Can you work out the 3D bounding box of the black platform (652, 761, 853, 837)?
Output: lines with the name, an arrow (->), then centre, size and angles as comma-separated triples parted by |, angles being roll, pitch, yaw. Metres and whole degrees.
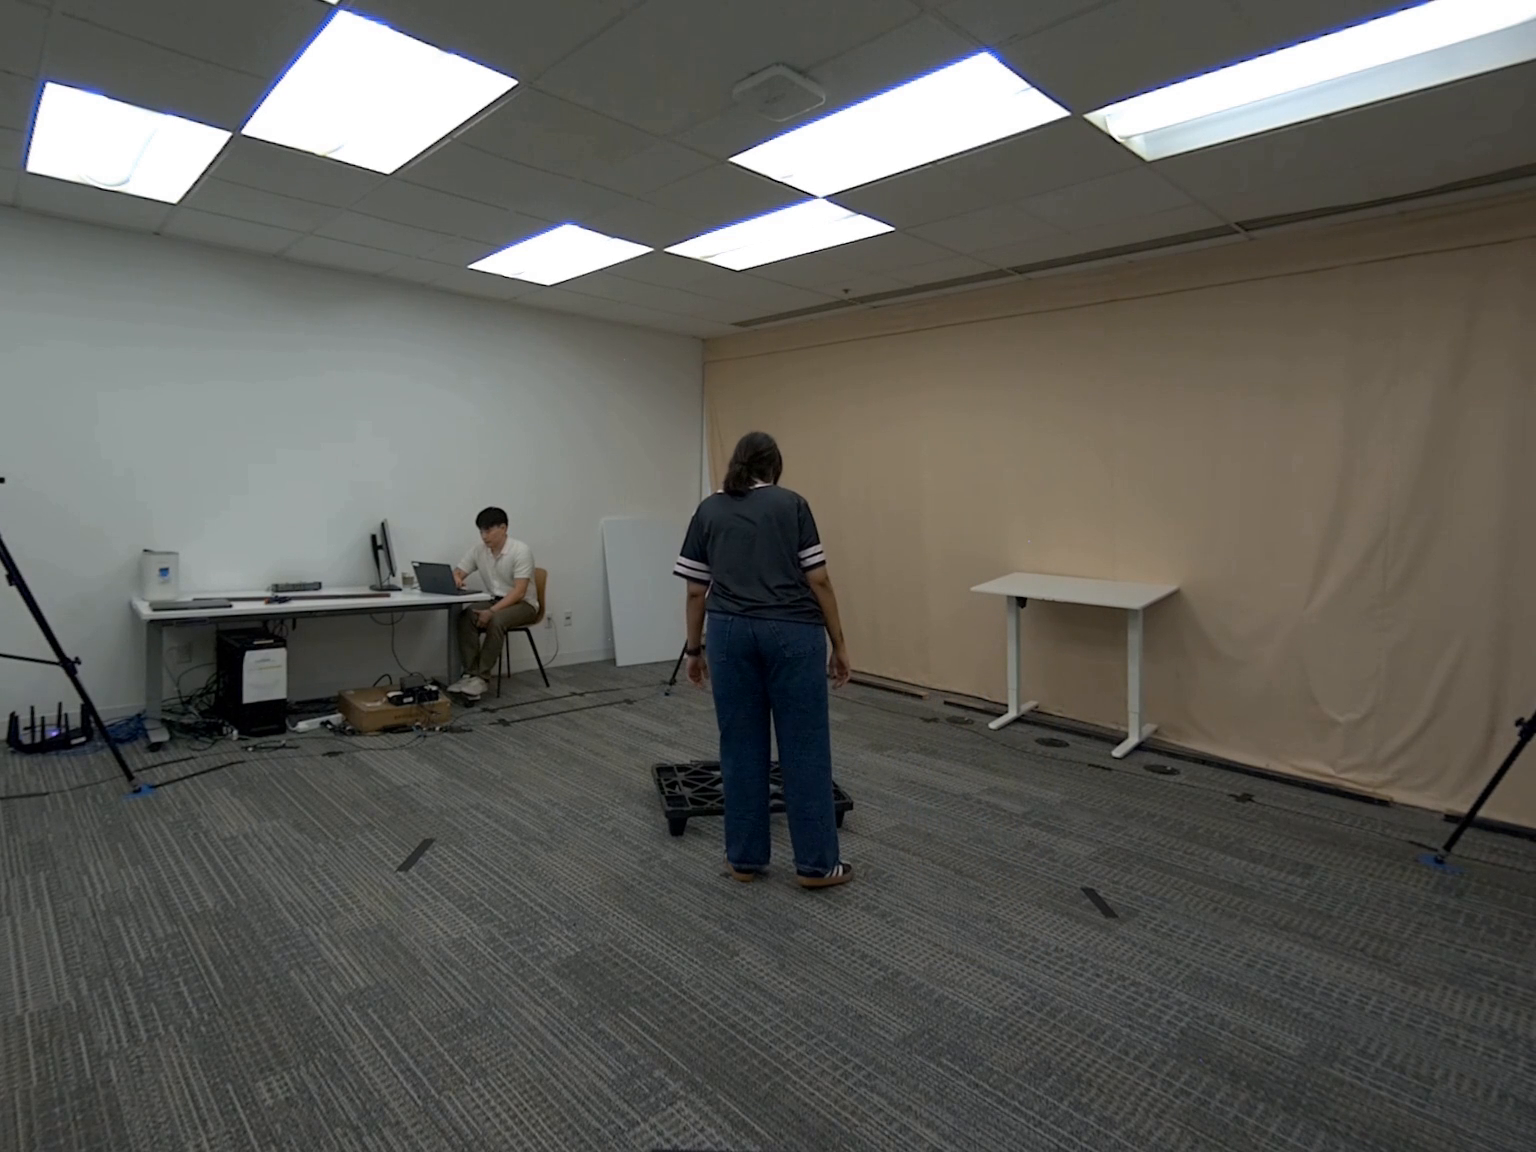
black platform -> -0.100, 0.983, 3.746 | 0.798, 0.143, 0.613 | 0, 6, -12
